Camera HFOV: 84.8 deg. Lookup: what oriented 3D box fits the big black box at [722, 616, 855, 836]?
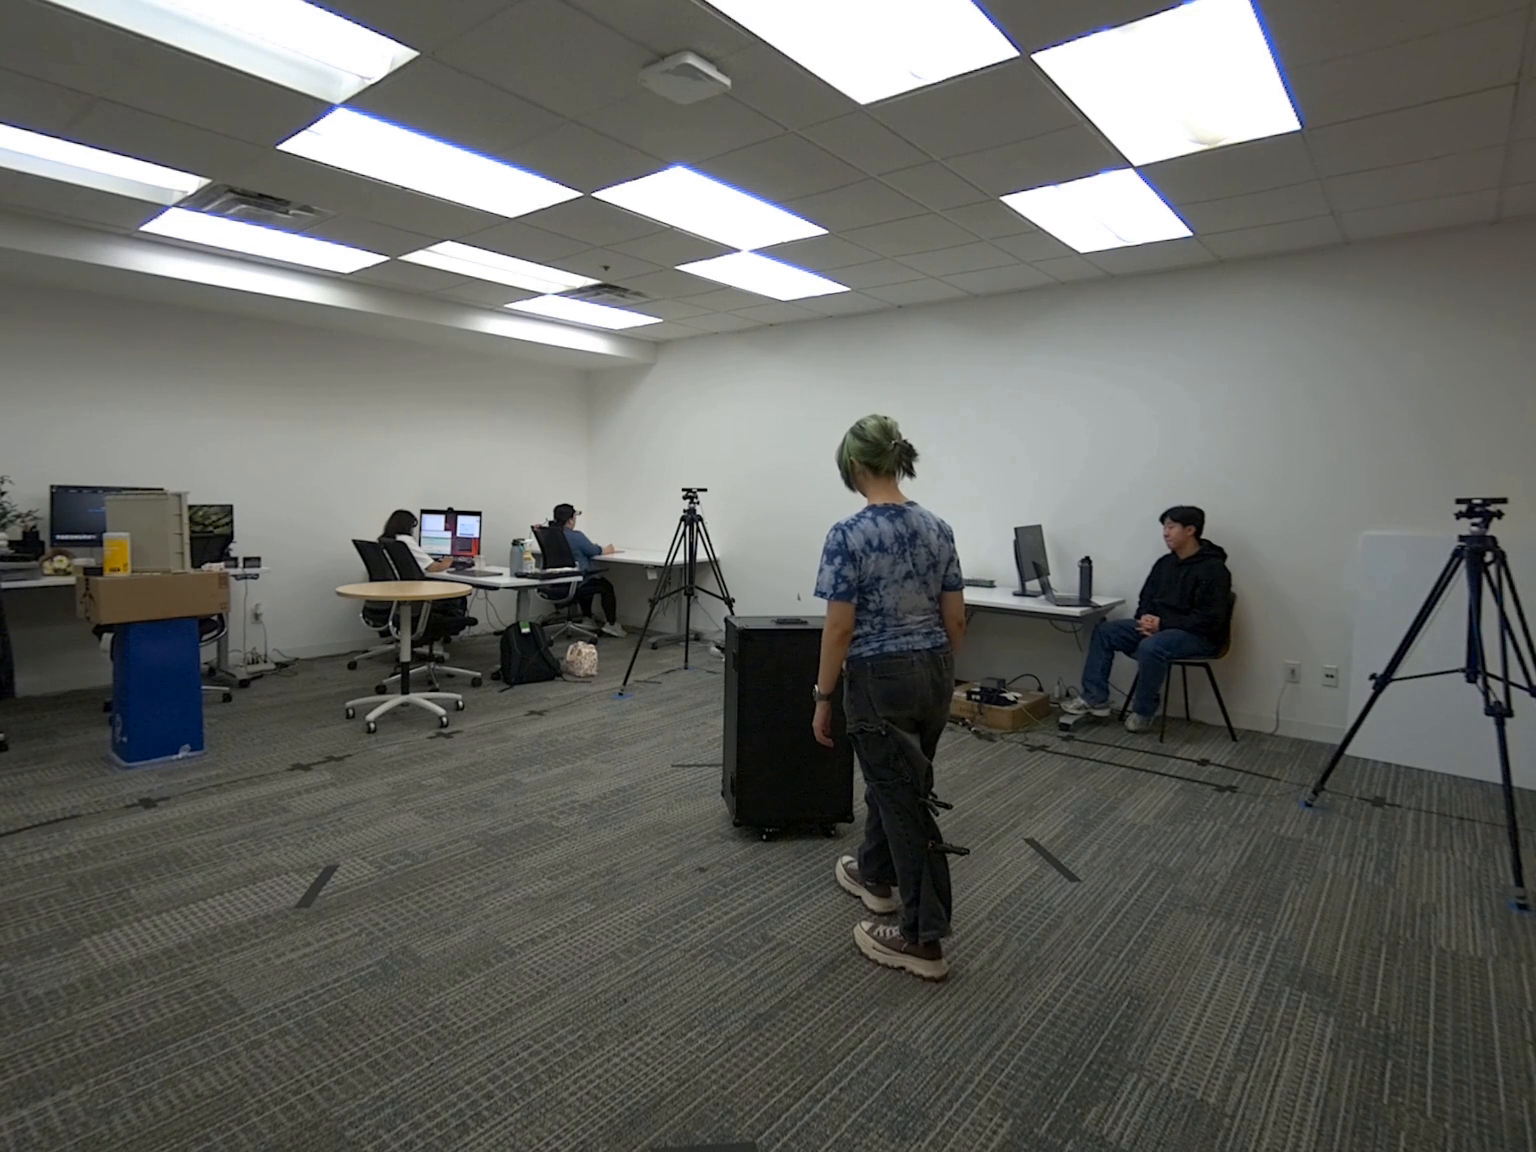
[{"bbox_3d":[0.057,0.609,3.532,0.516,0.860,0.401,0,2,-10],"label":"big black box"}]
